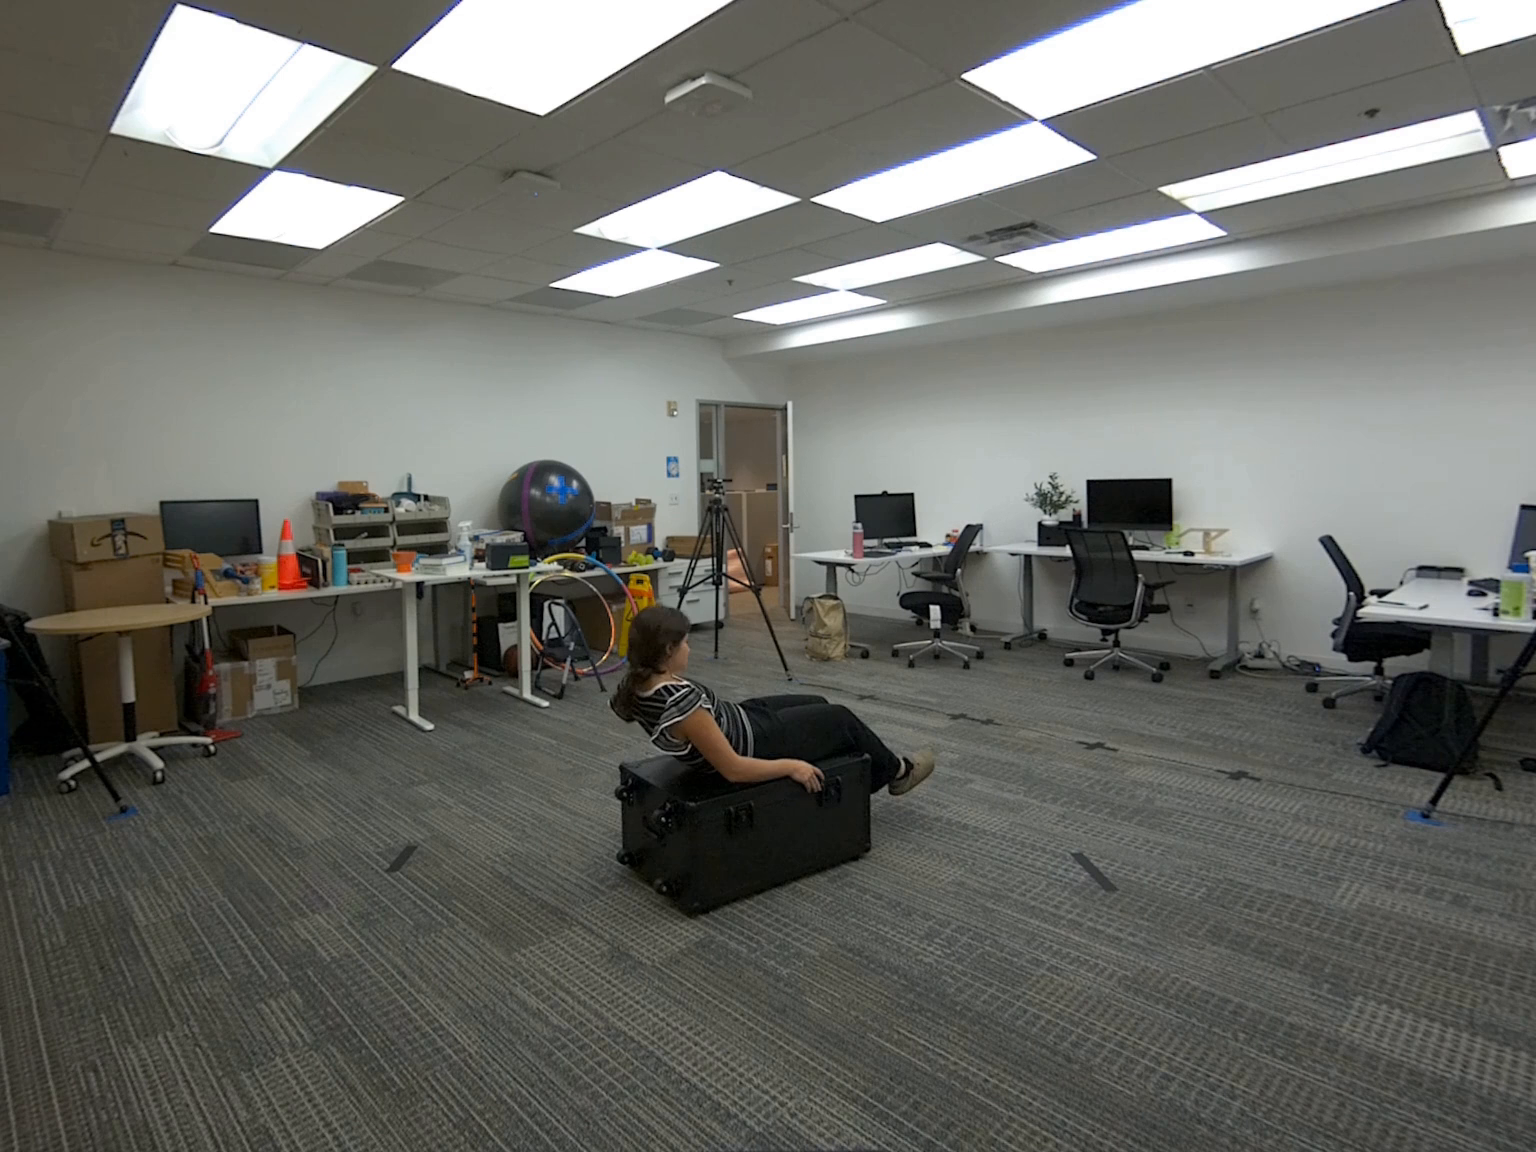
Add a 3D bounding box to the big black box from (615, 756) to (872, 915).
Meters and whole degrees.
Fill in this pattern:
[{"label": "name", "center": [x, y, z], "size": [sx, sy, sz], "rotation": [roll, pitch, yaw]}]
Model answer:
[{"label": "big black box", "center": [-0.108, 0.864, 3.092], "size": [0.839, 0.395, 0.537], "rotation": [-4, 7, -35]}]
